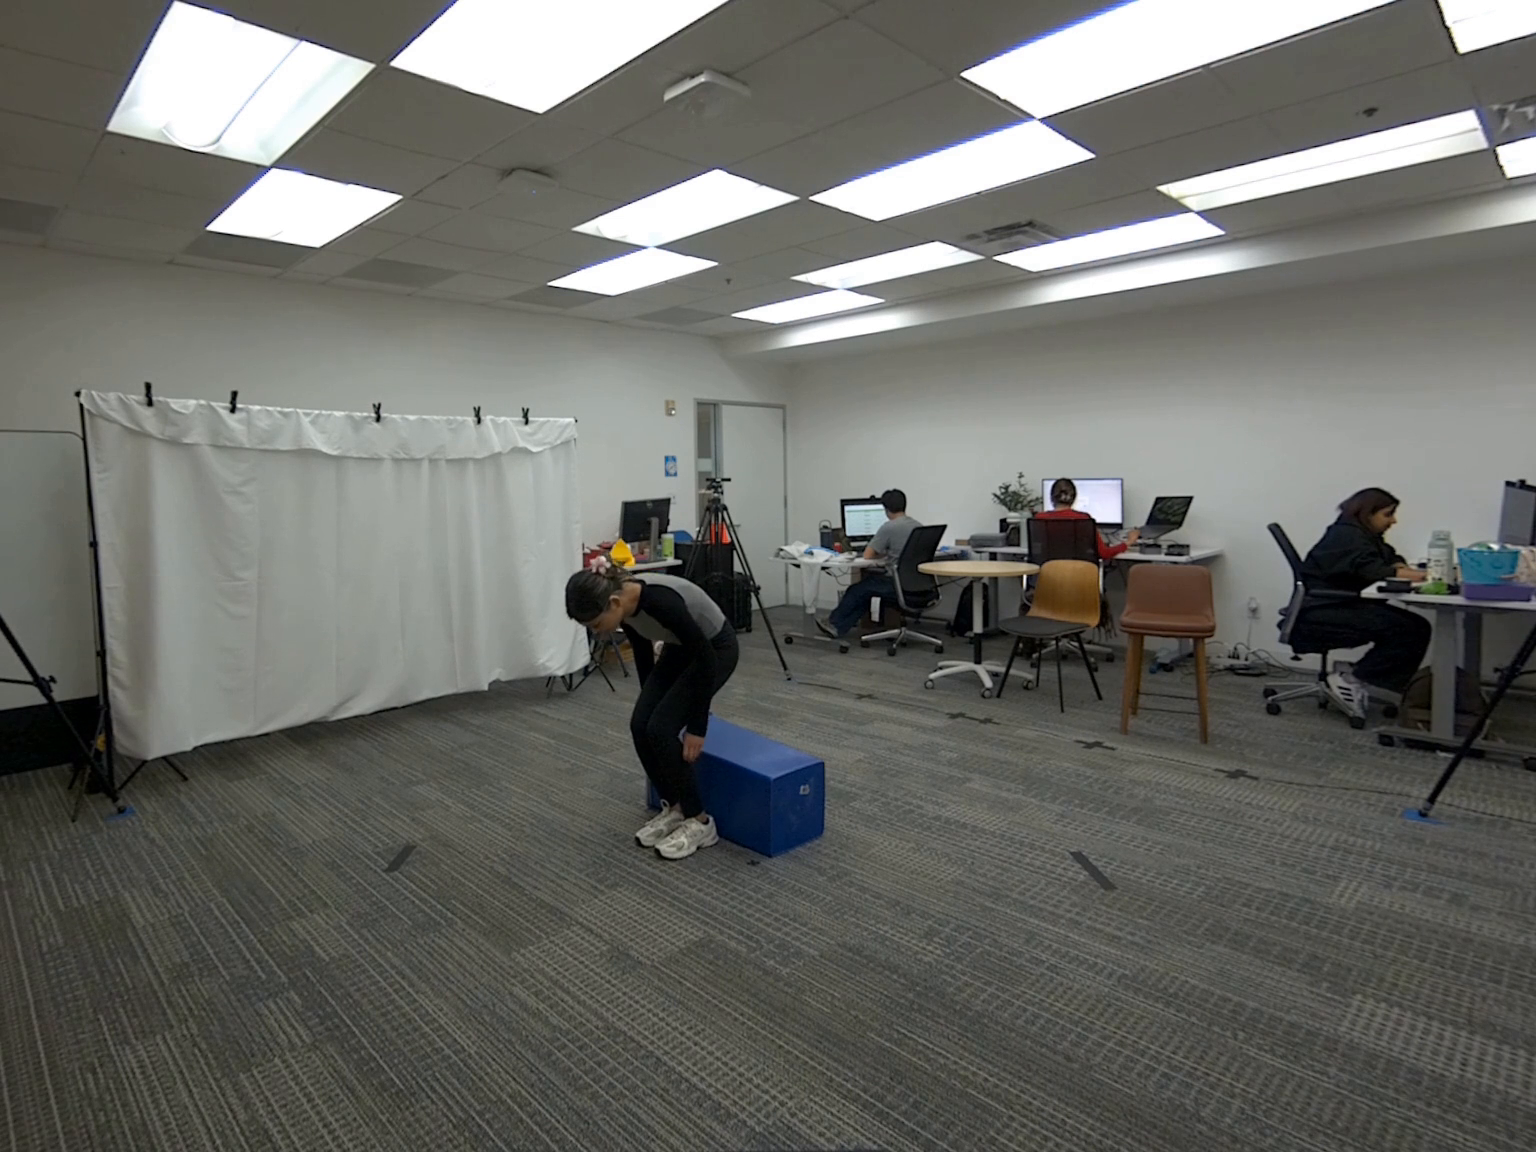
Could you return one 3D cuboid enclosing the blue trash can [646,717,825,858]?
[{"bbox_3d":[-0.132,0.827,3.485,0.368,0.372,0.736,-4,8,-44],"label":"blue trash can"}]
